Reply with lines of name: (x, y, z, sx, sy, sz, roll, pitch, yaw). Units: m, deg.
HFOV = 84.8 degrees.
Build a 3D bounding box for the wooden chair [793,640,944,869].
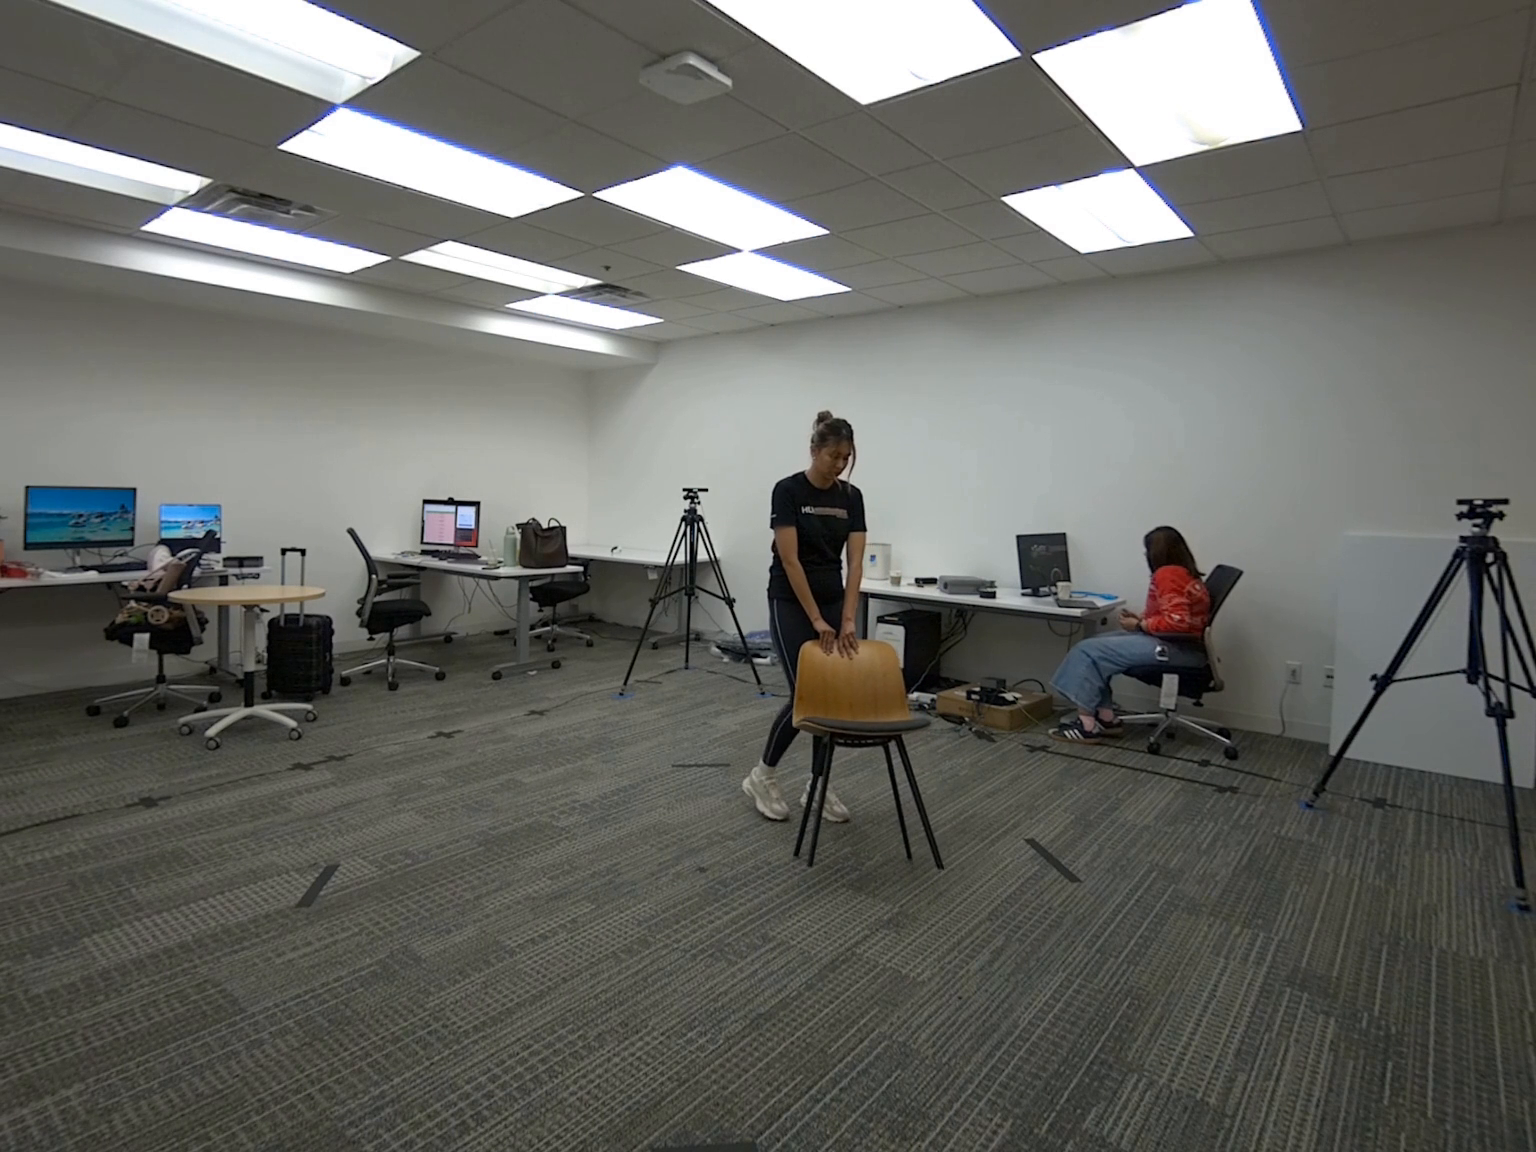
wooden chair: (0.334, 0.600, 3.125, 0.477, 0.894, 0.514, 1, -20, -3)
